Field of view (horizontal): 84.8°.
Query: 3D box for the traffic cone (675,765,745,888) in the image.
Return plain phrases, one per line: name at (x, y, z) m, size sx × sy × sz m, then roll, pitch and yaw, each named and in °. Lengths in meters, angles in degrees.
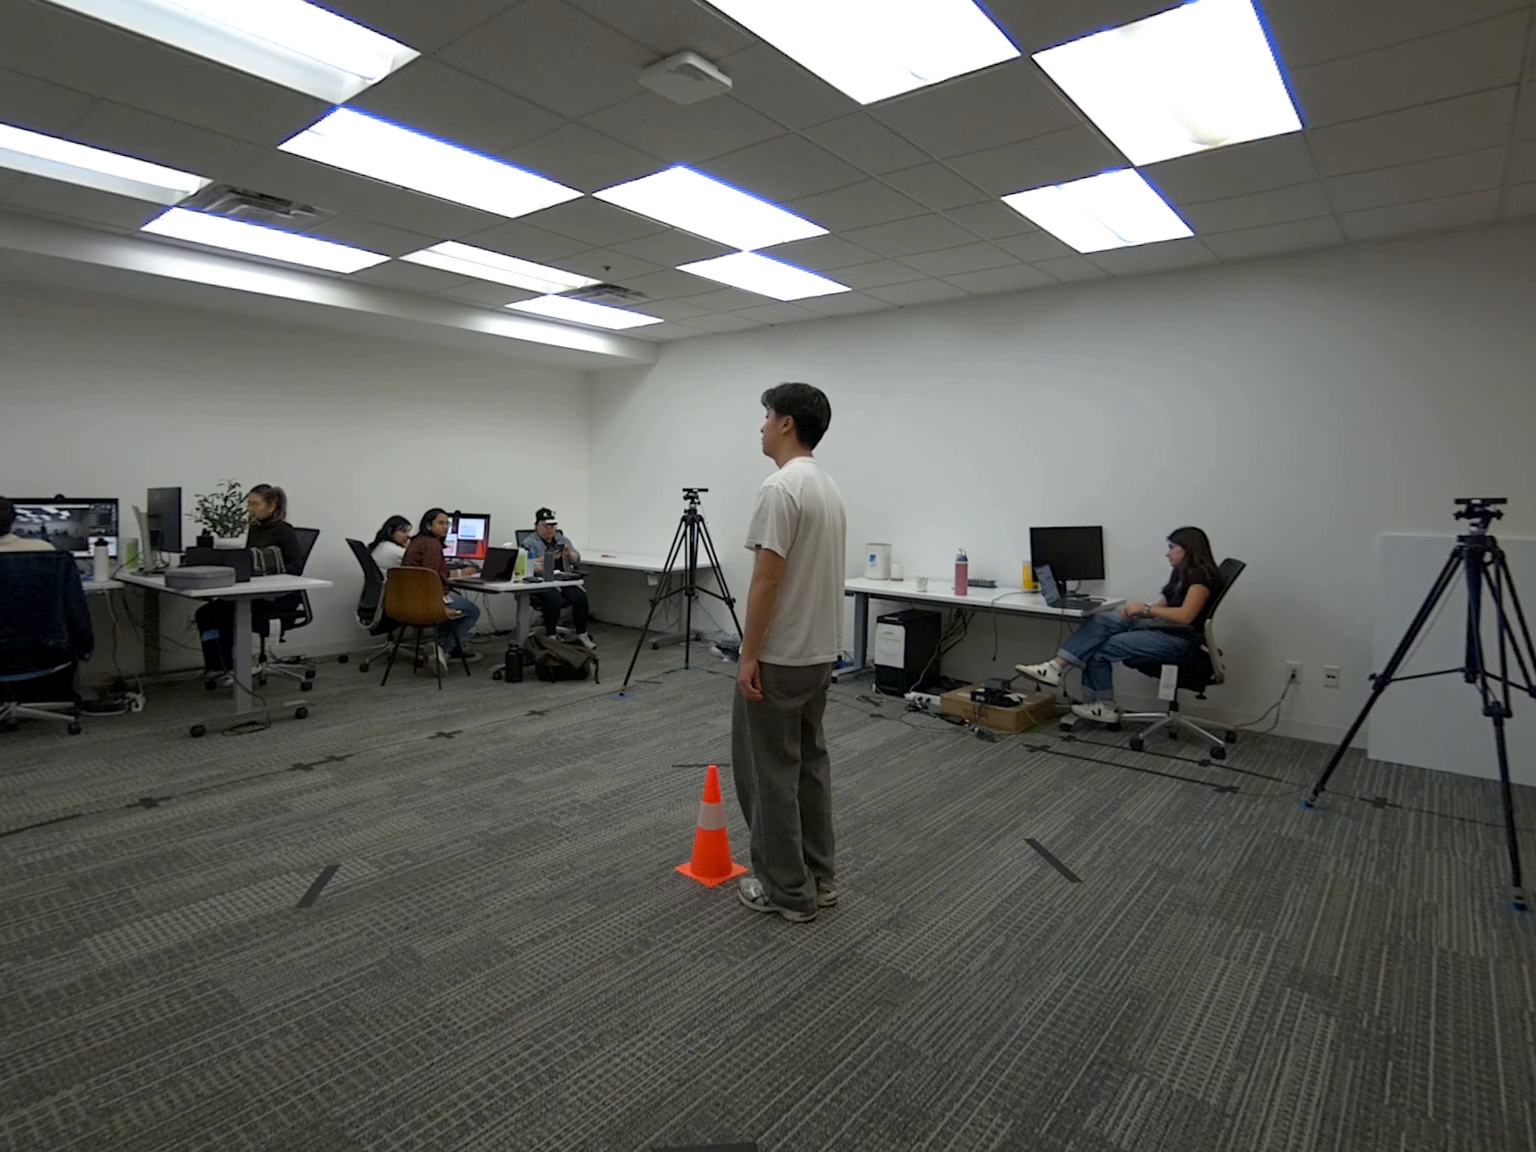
traffic cone at (-0.205, 0.880, 3.109) m, size 0.197 × 0.383 × 0.211 m, roll -1°, pitch 2°, yaw -40°
